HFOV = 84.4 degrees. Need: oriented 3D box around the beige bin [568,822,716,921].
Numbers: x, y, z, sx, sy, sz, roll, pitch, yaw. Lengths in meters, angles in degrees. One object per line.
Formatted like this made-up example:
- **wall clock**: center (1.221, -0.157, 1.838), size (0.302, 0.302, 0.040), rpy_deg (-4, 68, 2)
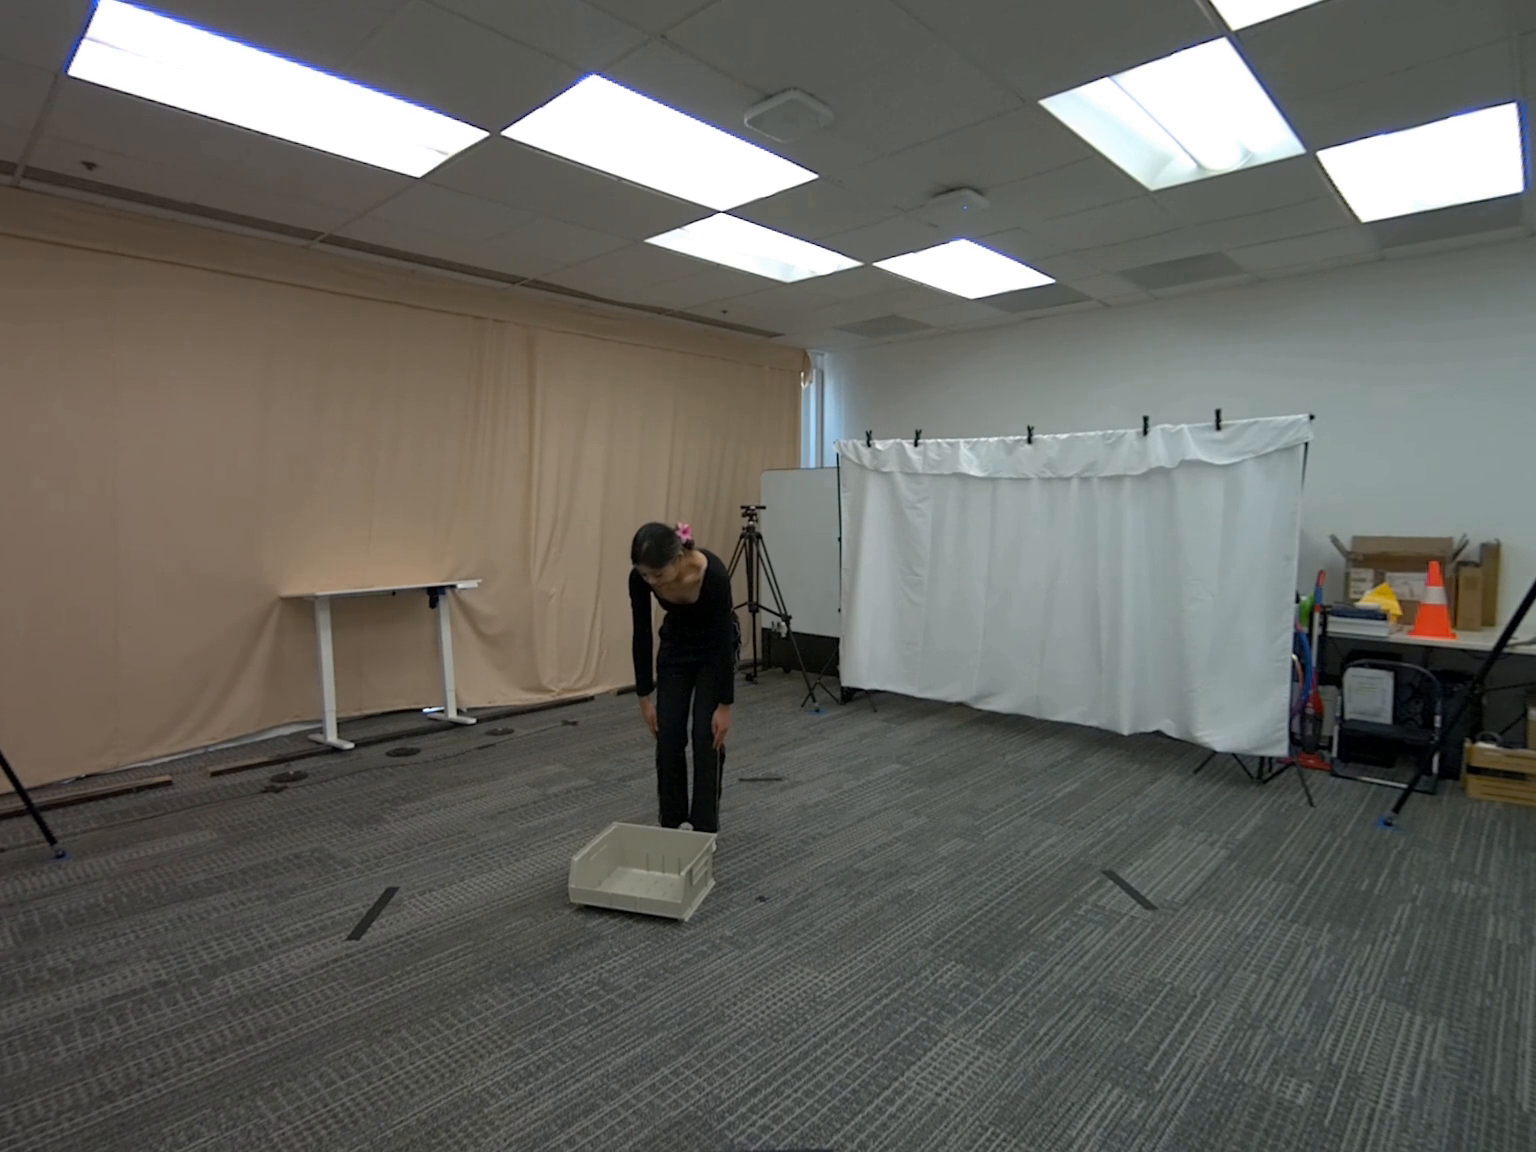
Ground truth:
- **beige bin**: center (-0.438, 1.057, 3.003), size (0.430, 0.189, 0.371), rpy_deg (0, 3, 16)
